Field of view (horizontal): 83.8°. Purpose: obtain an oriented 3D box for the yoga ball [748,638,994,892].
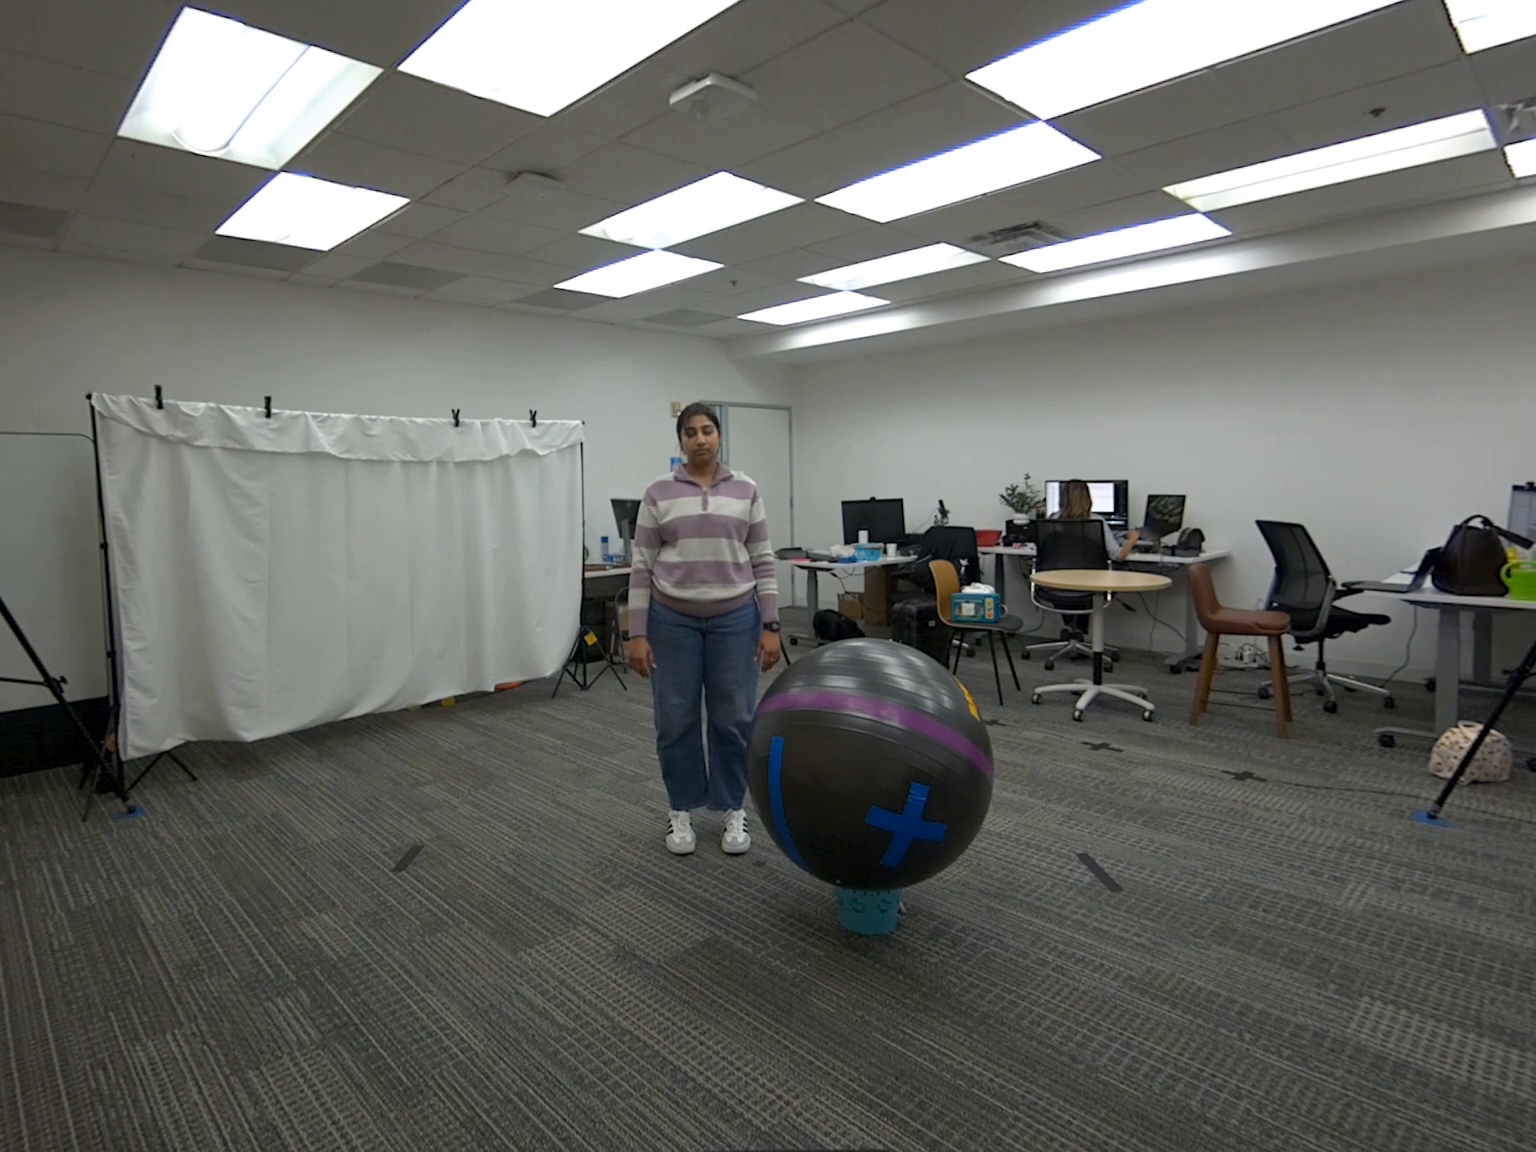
[{"bbox_3d":[0.320,0.590,2.660,0.757,0.755,0.762,-1,5,-2],"label":"yoga ball"}]
